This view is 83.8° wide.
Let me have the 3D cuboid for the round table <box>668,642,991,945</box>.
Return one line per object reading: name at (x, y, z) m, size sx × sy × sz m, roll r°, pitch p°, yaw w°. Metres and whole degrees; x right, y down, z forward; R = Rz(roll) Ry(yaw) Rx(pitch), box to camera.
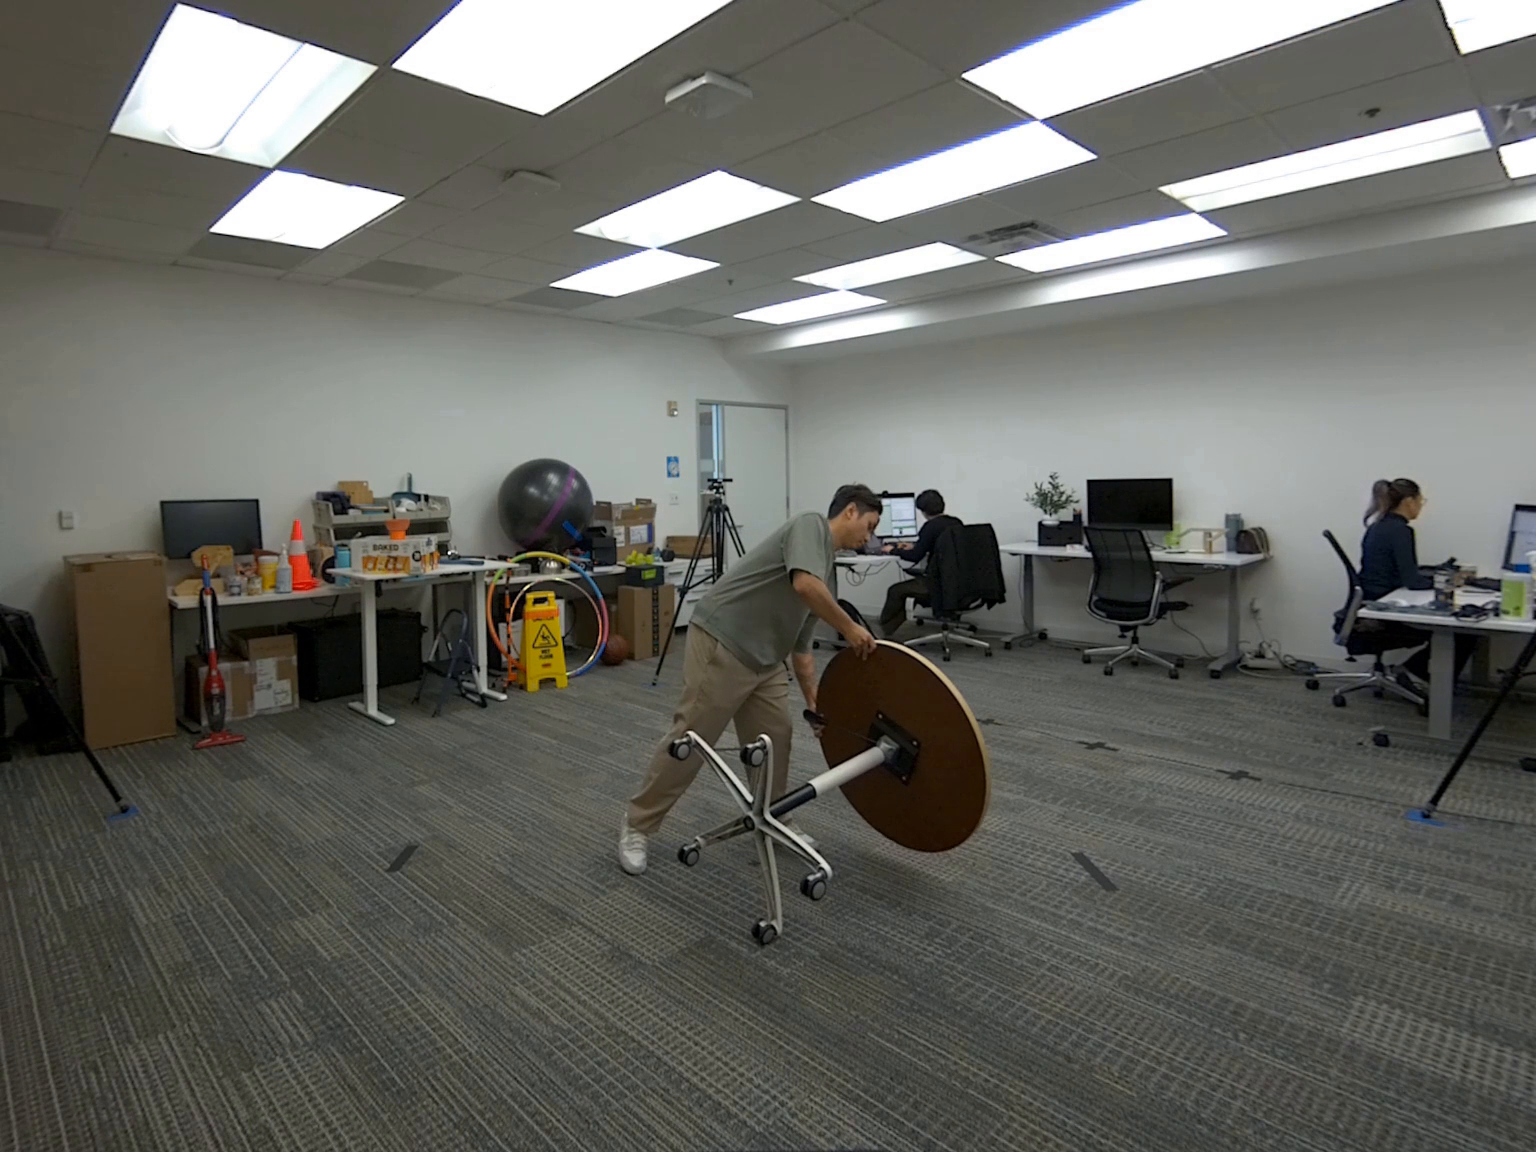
round table at (0.176, 0.696, 2.799) m, size 0.771 × 0.777 × 0.809 m, roll -17°, pitch 14°, yaw -38°
